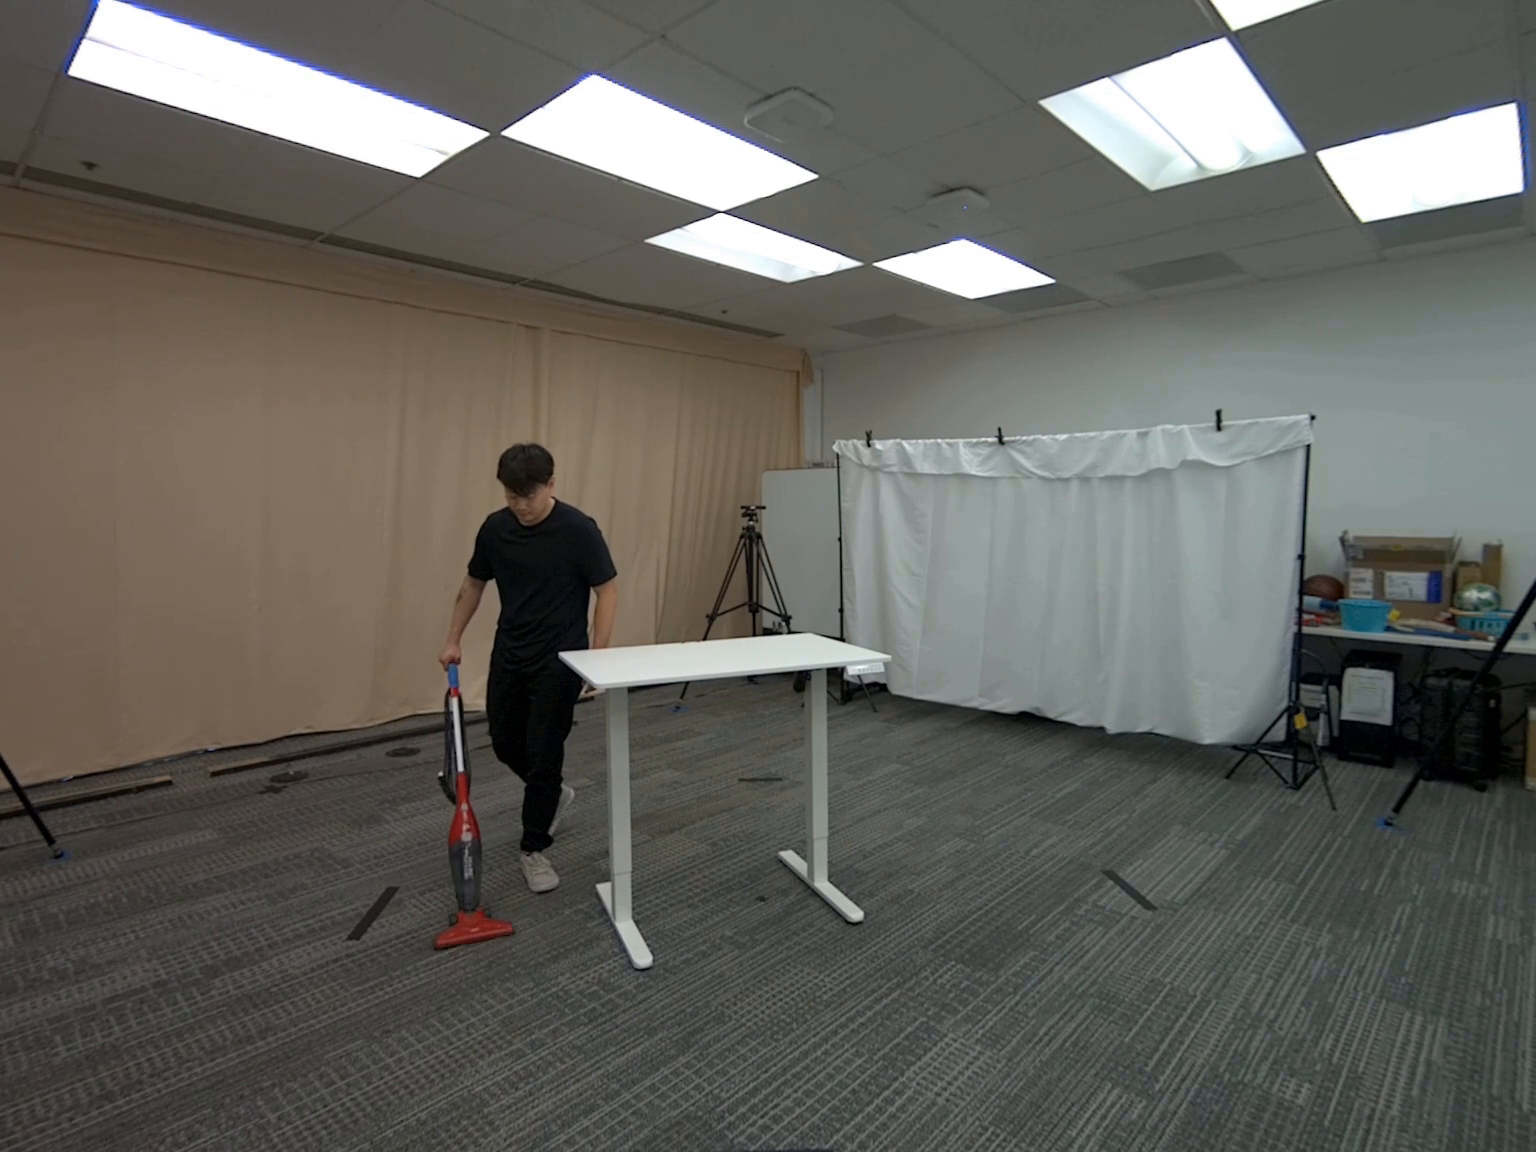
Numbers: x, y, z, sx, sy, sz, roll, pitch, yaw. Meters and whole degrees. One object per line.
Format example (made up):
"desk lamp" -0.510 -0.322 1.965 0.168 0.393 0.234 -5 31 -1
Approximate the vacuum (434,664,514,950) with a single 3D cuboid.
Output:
"vacuum" -1.117 0.738 3.040 0.245 1.077 0.144 1 -39 -31
